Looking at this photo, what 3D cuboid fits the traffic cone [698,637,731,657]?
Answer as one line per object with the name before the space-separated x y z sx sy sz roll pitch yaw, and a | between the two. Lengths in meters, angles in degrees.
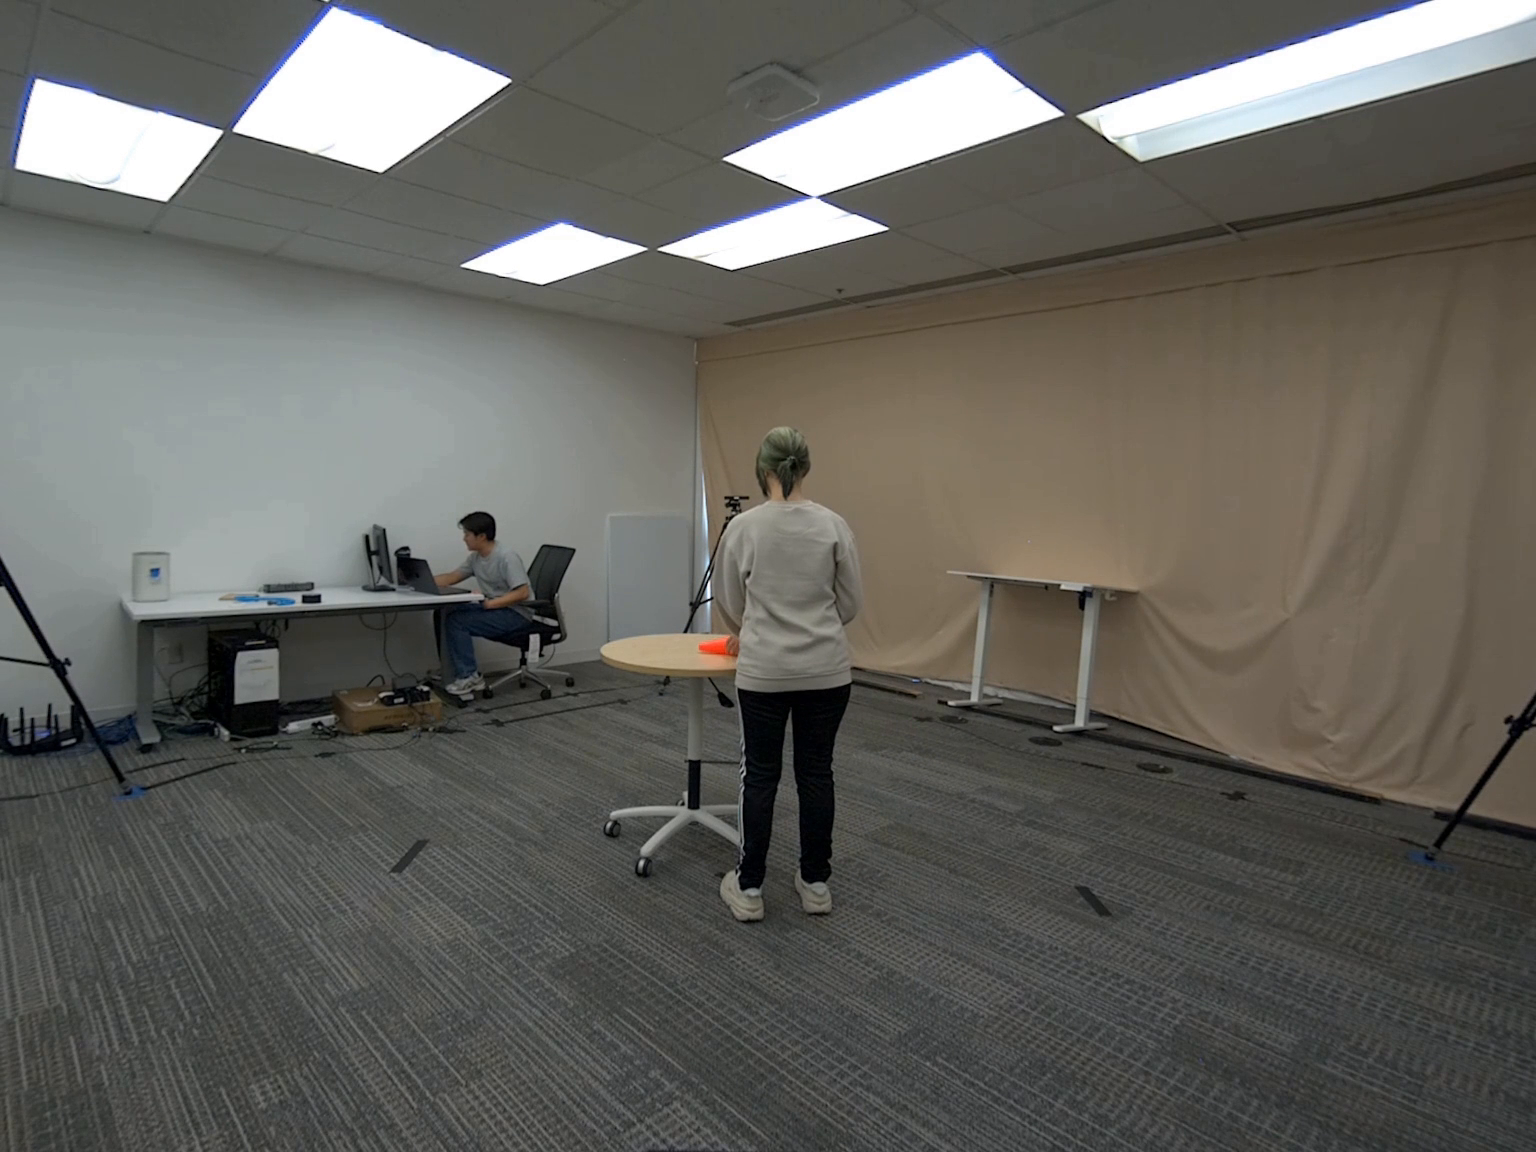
traffic cone | -0.076 0.268 3.261 0.386 0.209 0.197 -8 -43 10
